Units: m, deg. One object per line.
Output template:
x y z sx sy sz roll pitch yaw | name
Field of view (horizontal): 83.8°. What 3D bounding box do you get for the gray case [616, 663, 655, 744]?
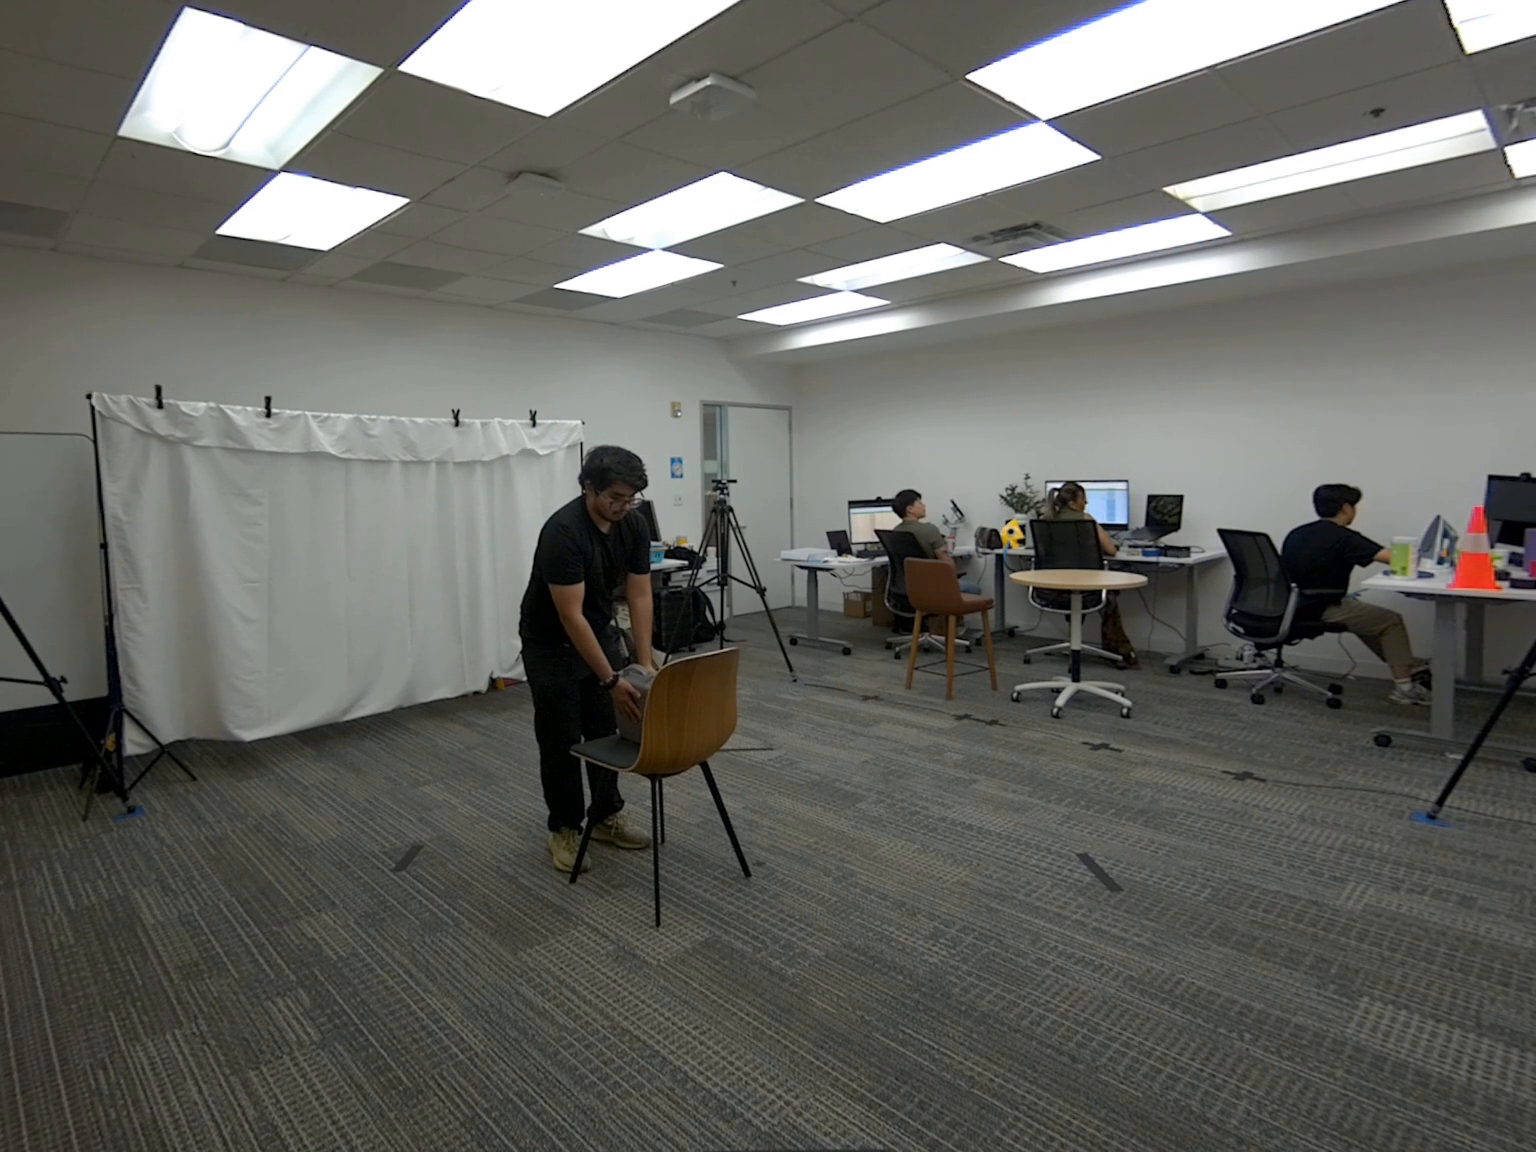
-0.408 0.469 2.998 0.265 0.256 0.103 7 24 37 | gray case
